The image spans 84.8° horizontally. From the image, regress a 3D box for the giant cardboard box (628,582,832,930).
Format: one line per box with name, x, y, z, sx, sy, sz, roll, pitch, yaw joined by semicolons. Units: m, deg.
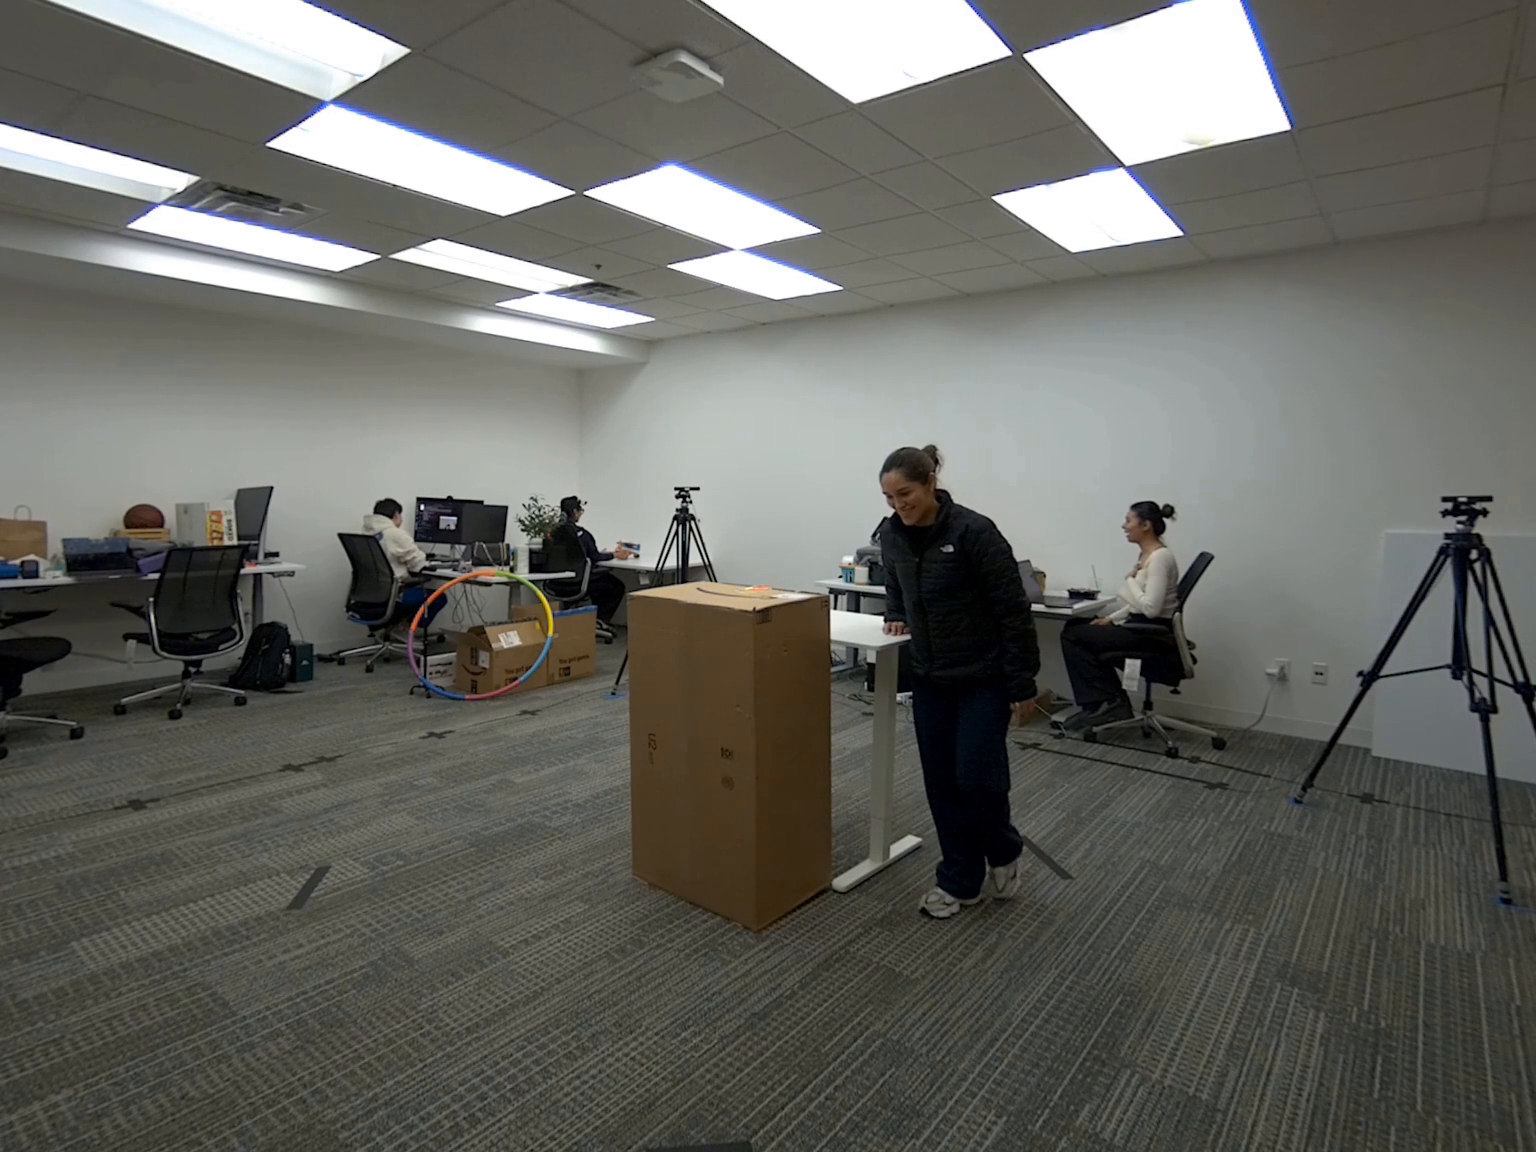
giant cardboard box;-0.124;0.564;2.980;0.603;1.023;0.434;3;5;41
